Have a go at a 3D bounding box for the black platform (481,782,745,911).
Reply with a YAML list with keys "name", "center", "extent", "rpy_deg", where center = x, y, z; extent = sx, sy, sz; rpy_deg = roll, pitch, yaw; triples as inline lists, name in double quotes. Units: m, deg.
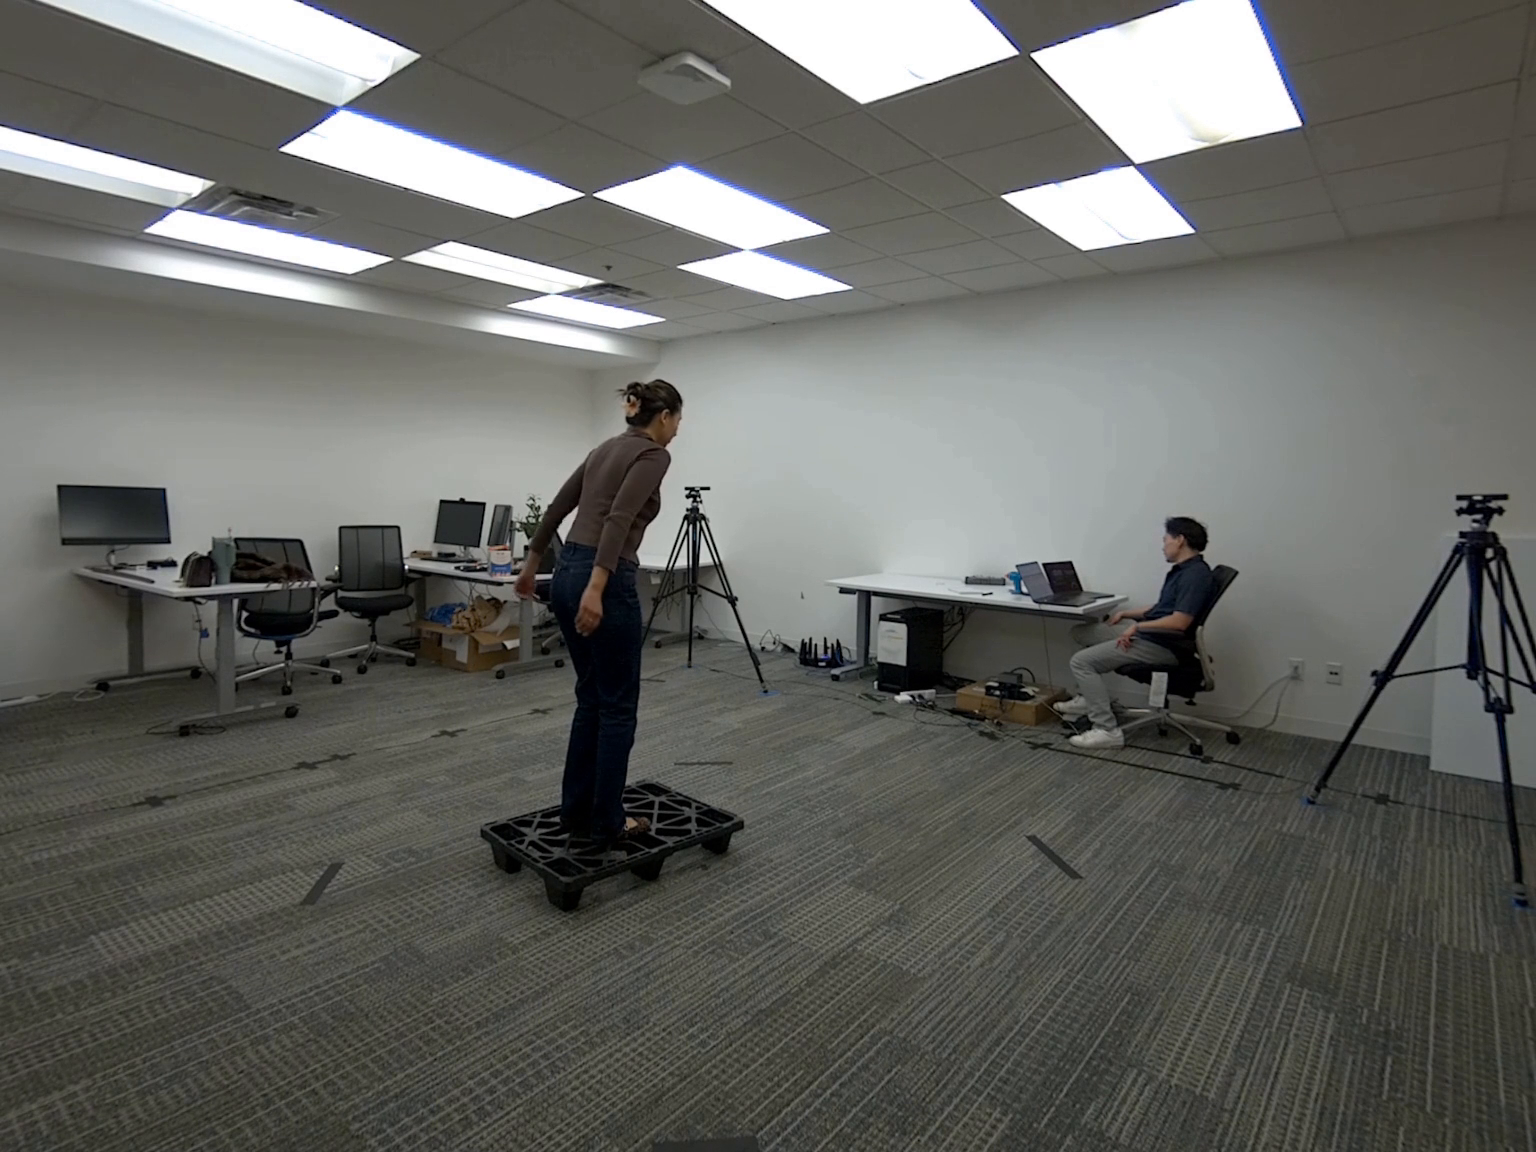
- name: "black platform"
  center: [-0.581, 0.986, 3.181]
  extent: [0.782, 0.143, 0.626]
  rpy_deg: [-5, 8, -43]
